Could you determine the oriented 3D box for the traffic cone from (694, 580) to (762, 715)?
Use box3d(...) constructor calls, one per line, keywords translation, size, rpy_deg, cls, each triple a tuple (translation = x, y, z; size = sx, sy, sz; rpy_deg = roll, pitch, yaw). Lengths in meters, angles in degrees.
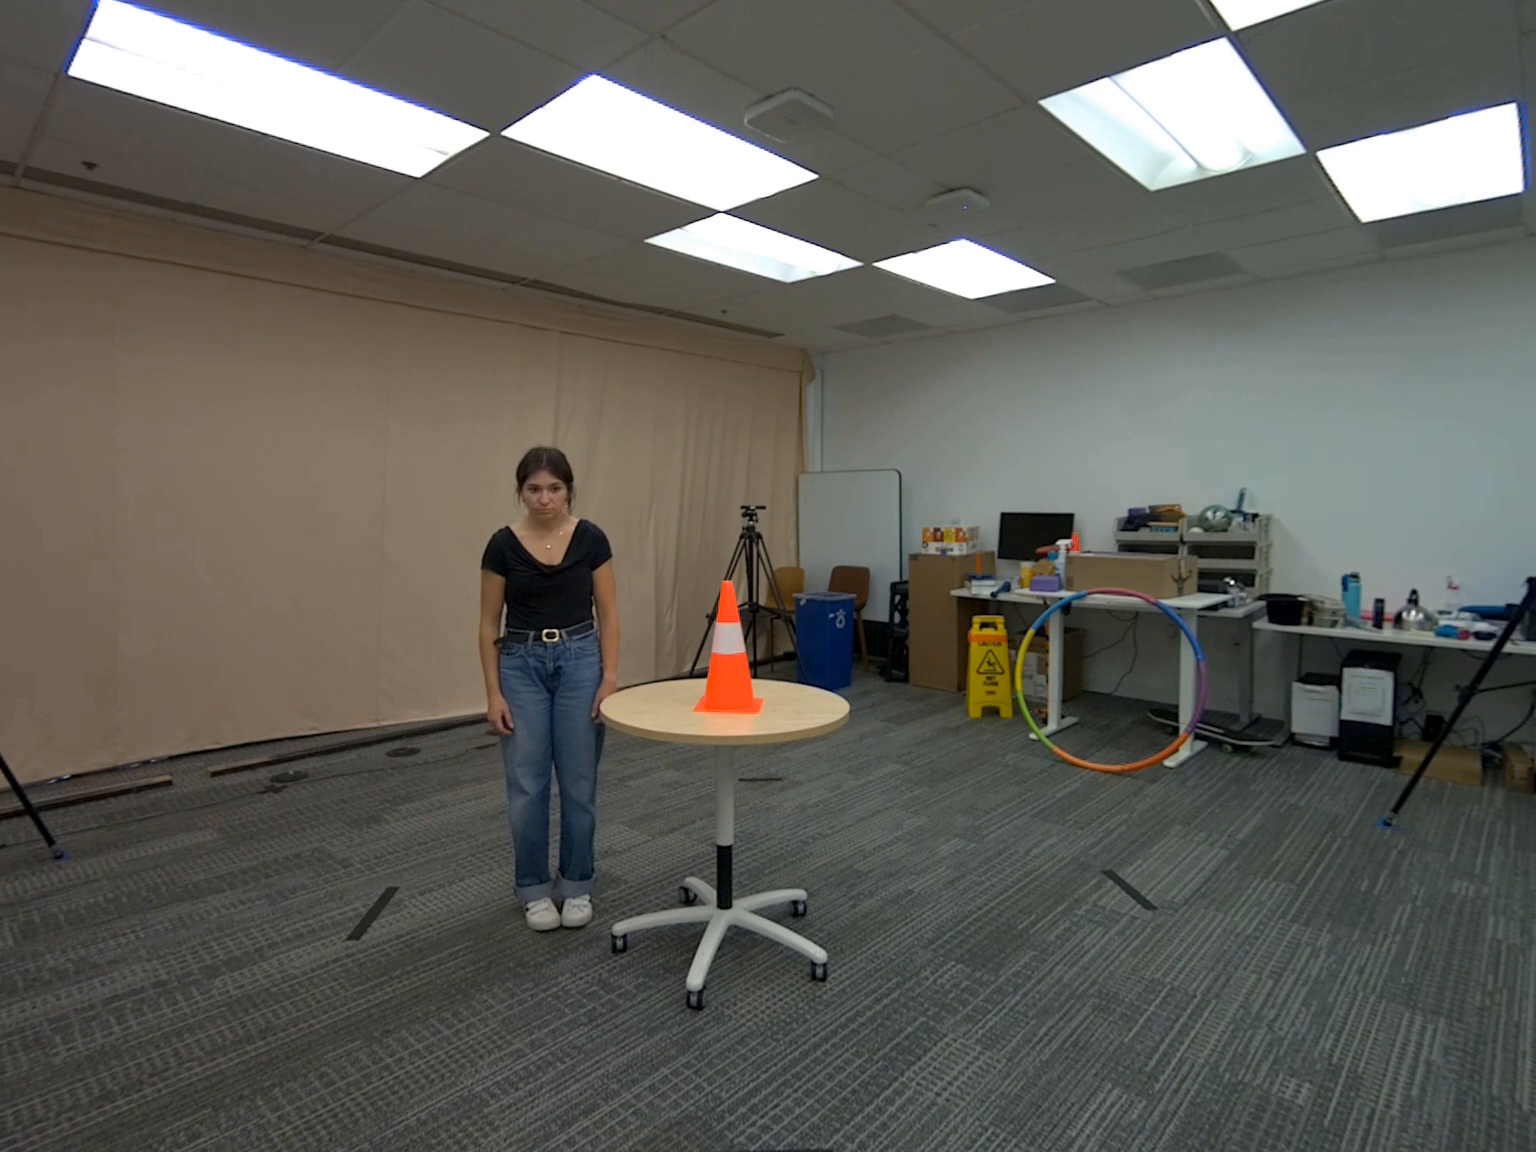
box3d(translation=(-0.116, 0.212, 2.561), size=(0.206, 0.383, 0.203), rpy_deg=(0, 2, 2), cls="traffic cone")
